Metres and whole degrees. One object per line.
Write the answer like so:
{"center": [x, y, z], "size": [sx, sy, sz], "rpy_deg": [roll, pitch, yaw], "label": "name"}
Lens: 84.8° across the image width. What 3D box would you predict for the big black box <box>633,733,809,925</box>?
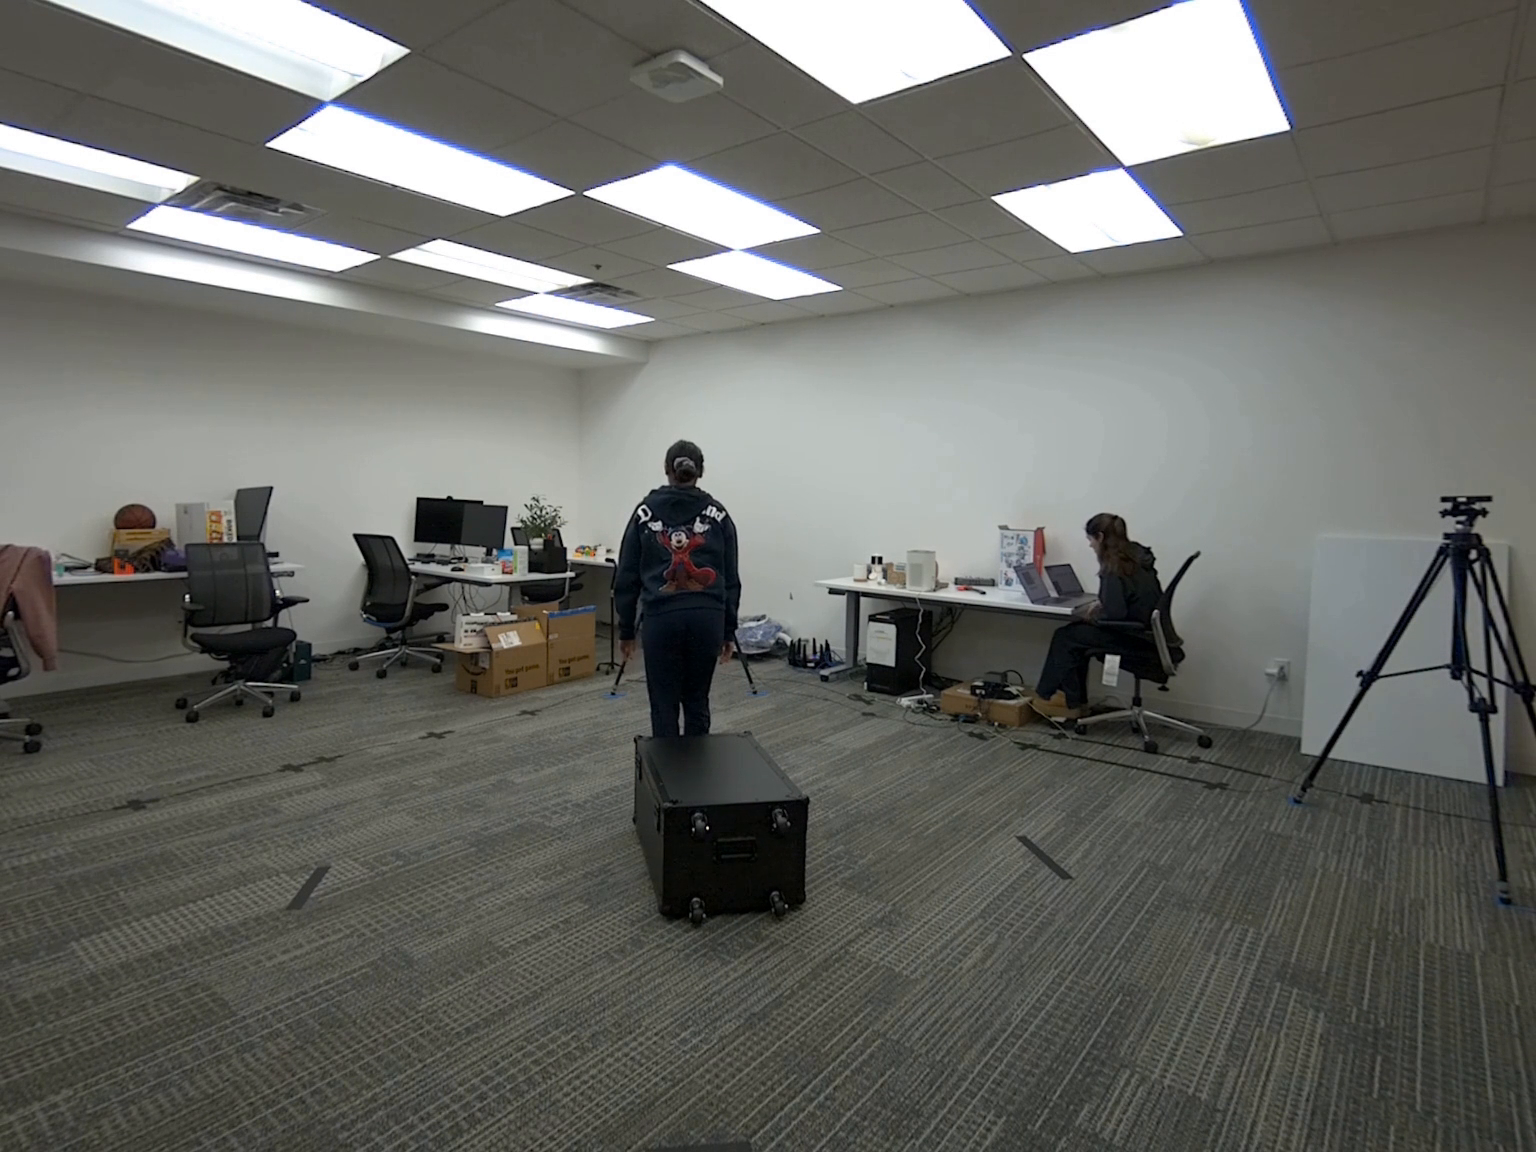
{"center": [-0.208, 0.874, 3.096], "size": [0.513, 0.395, 0.877], "rpy_deg": [0, 5, -15], "label": "big black box"}
